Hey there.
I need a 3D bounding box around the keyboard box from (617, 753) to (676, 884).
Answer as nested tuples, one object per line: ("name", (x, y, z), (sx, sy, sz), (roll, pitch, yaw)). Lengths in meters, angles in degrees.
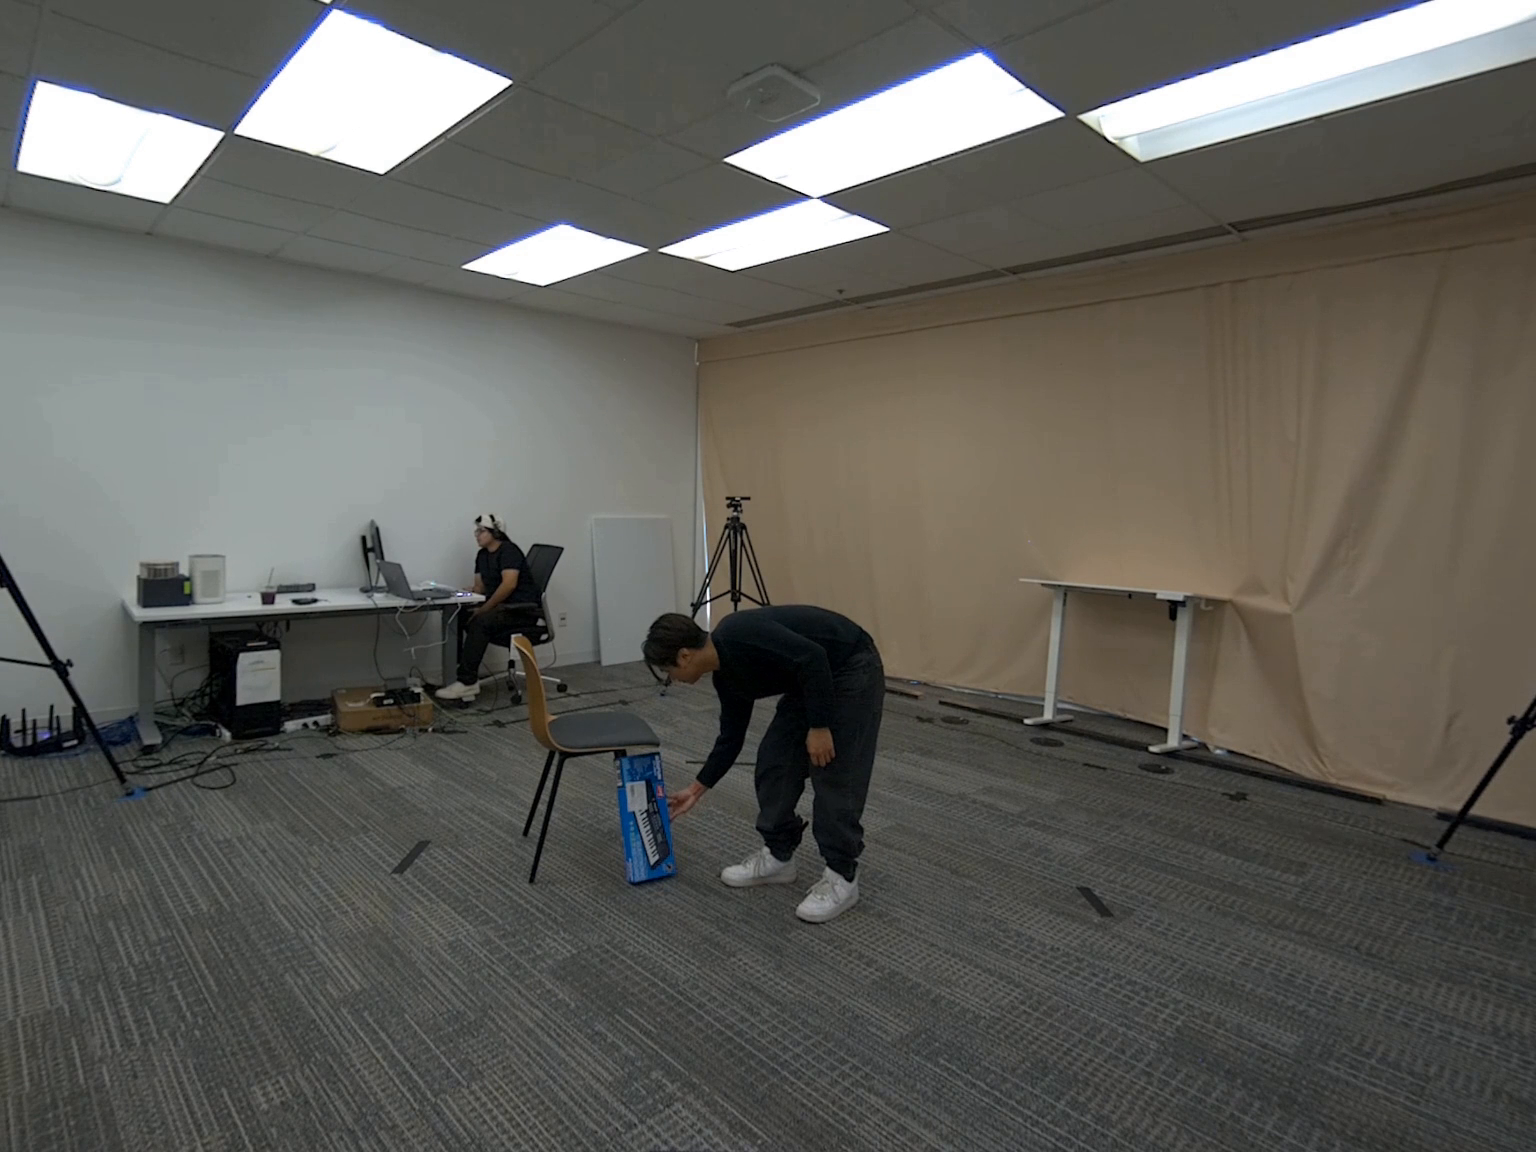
("keyboard box", (-0.458, 0.877, 3.104), (0.172, 0.442, 0.060), (1, -17, -37))
